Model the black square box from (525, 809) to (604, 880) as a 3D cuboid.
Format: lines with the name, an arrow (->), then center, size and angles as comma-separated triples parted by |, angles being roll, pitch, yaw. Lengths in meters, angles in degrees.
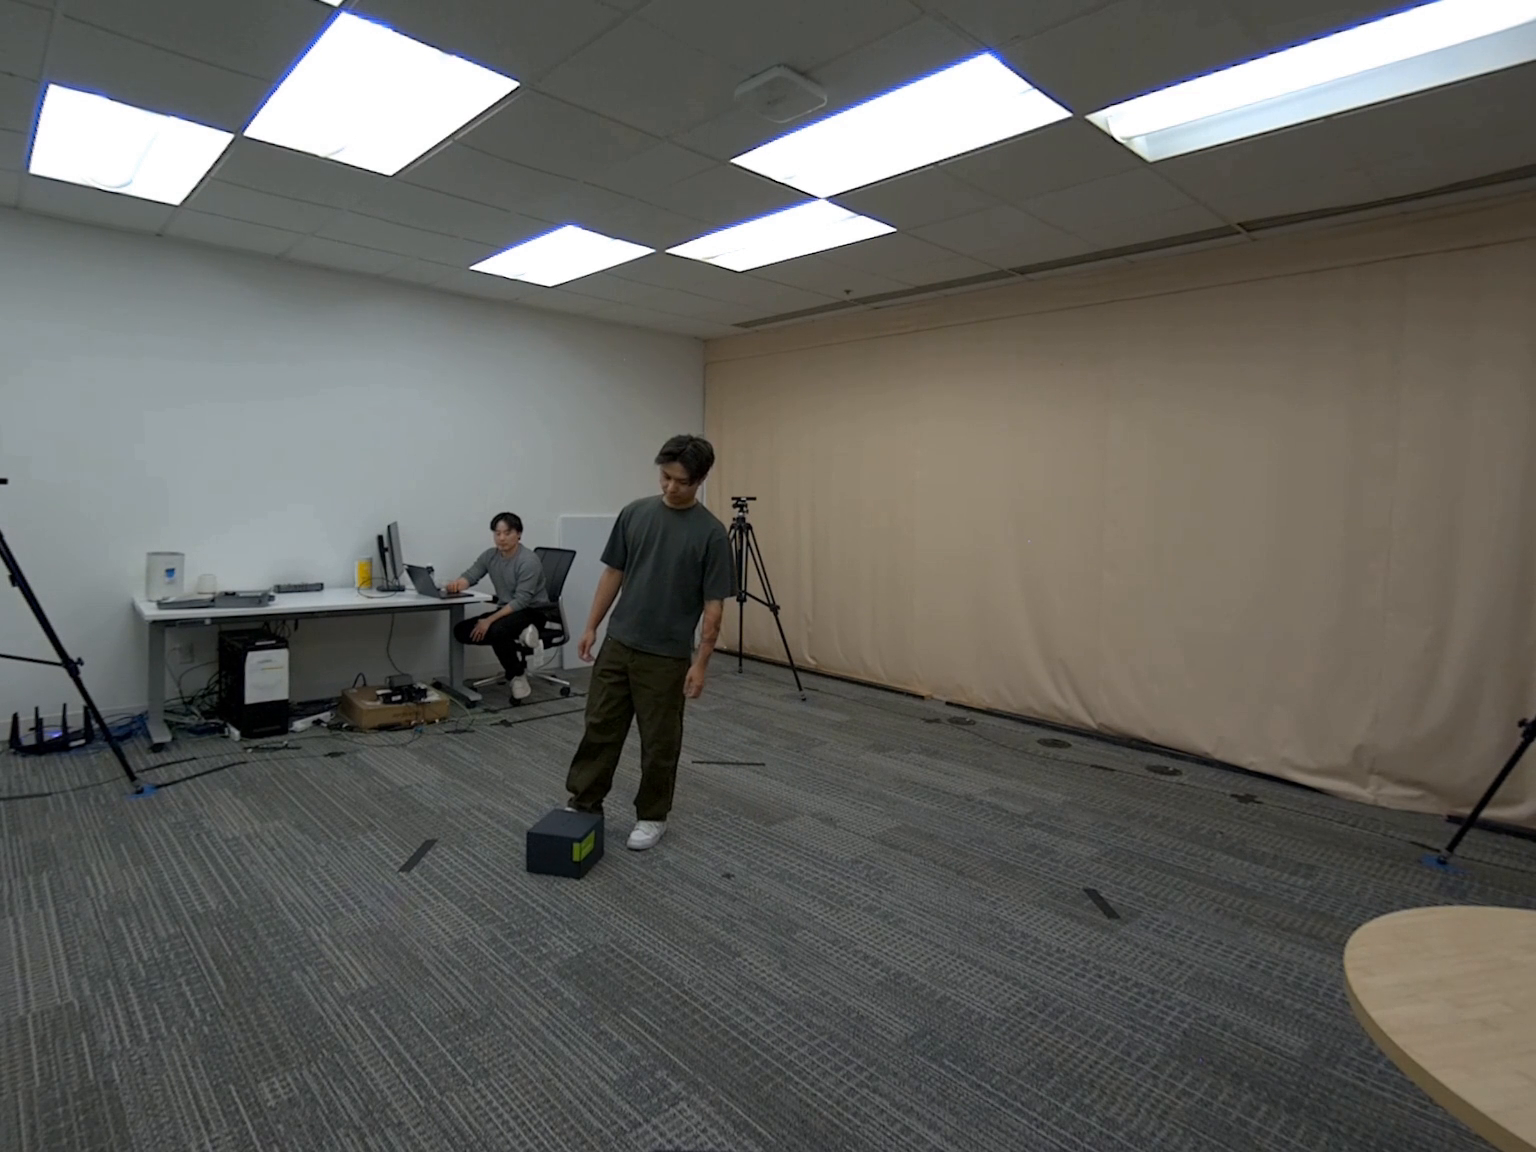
black square box -> -0.765, 1.004, 3.166 | 0.219, 0.155, 0.226 | 3, 5, 13
